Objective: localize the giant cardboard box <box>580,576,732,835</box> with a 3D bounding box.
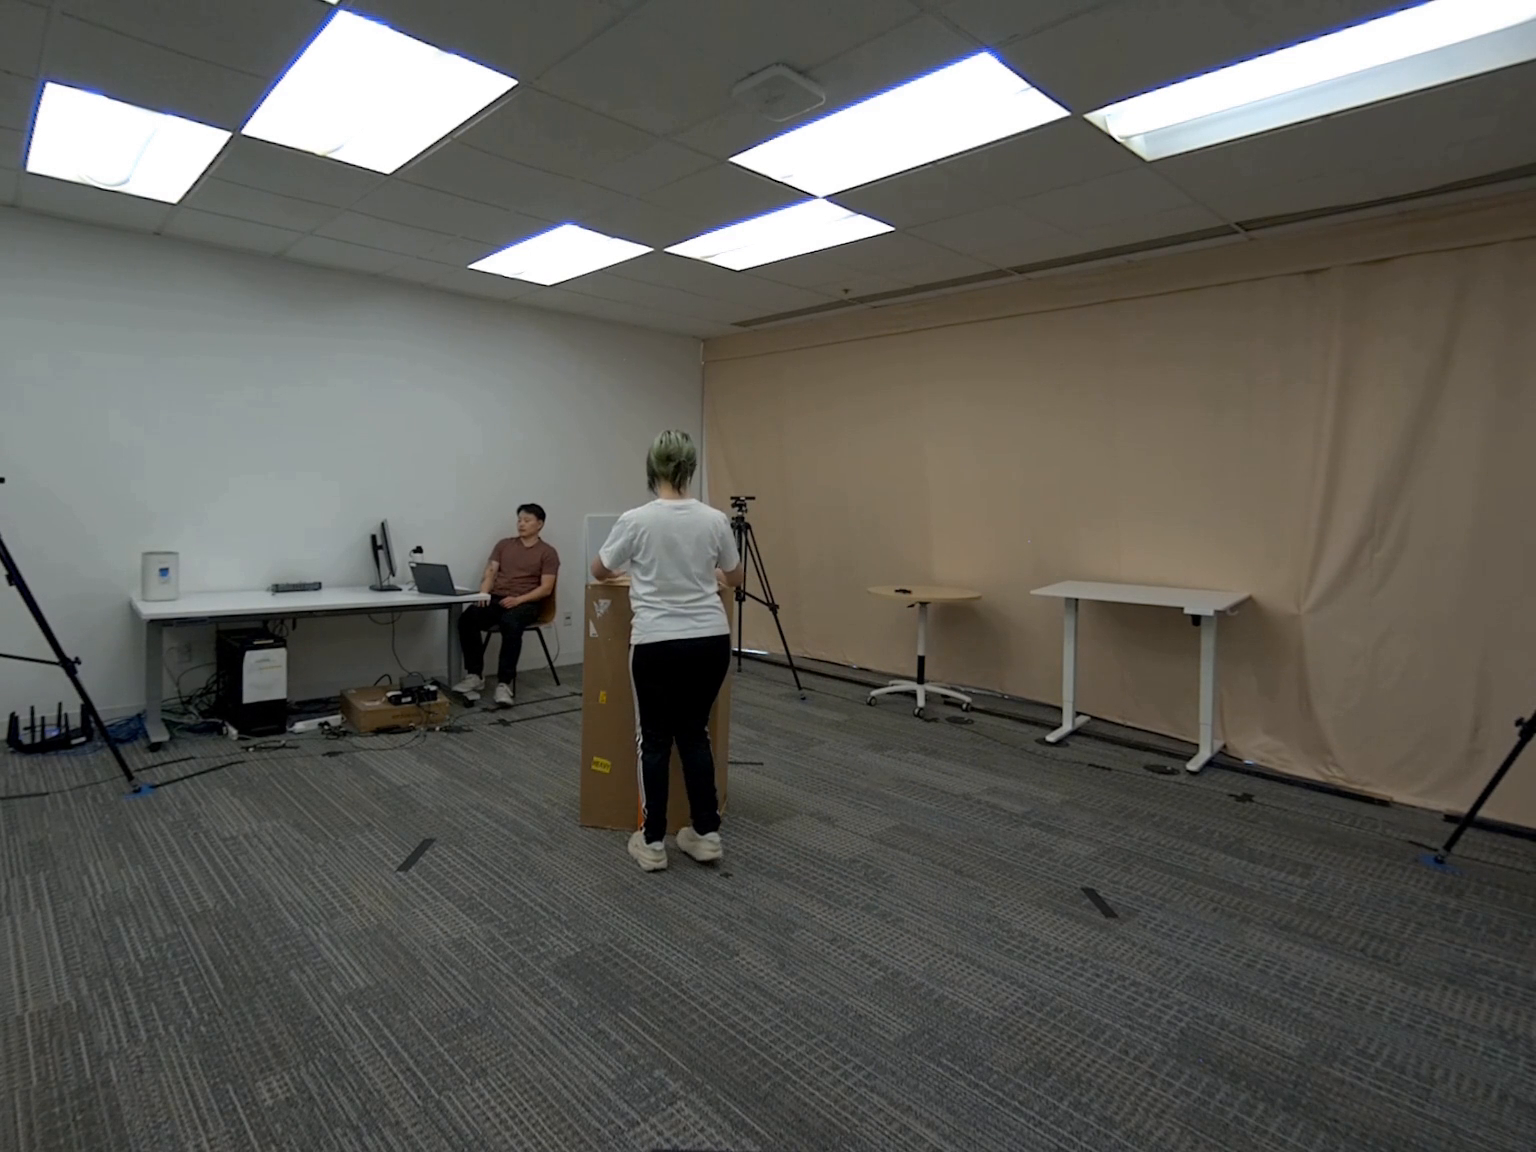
[{"bbox_3d":[-0.485,0.539,3.680,0.587,1.025,0.445,3,3,6],"label":"giant cardboard box"}]
